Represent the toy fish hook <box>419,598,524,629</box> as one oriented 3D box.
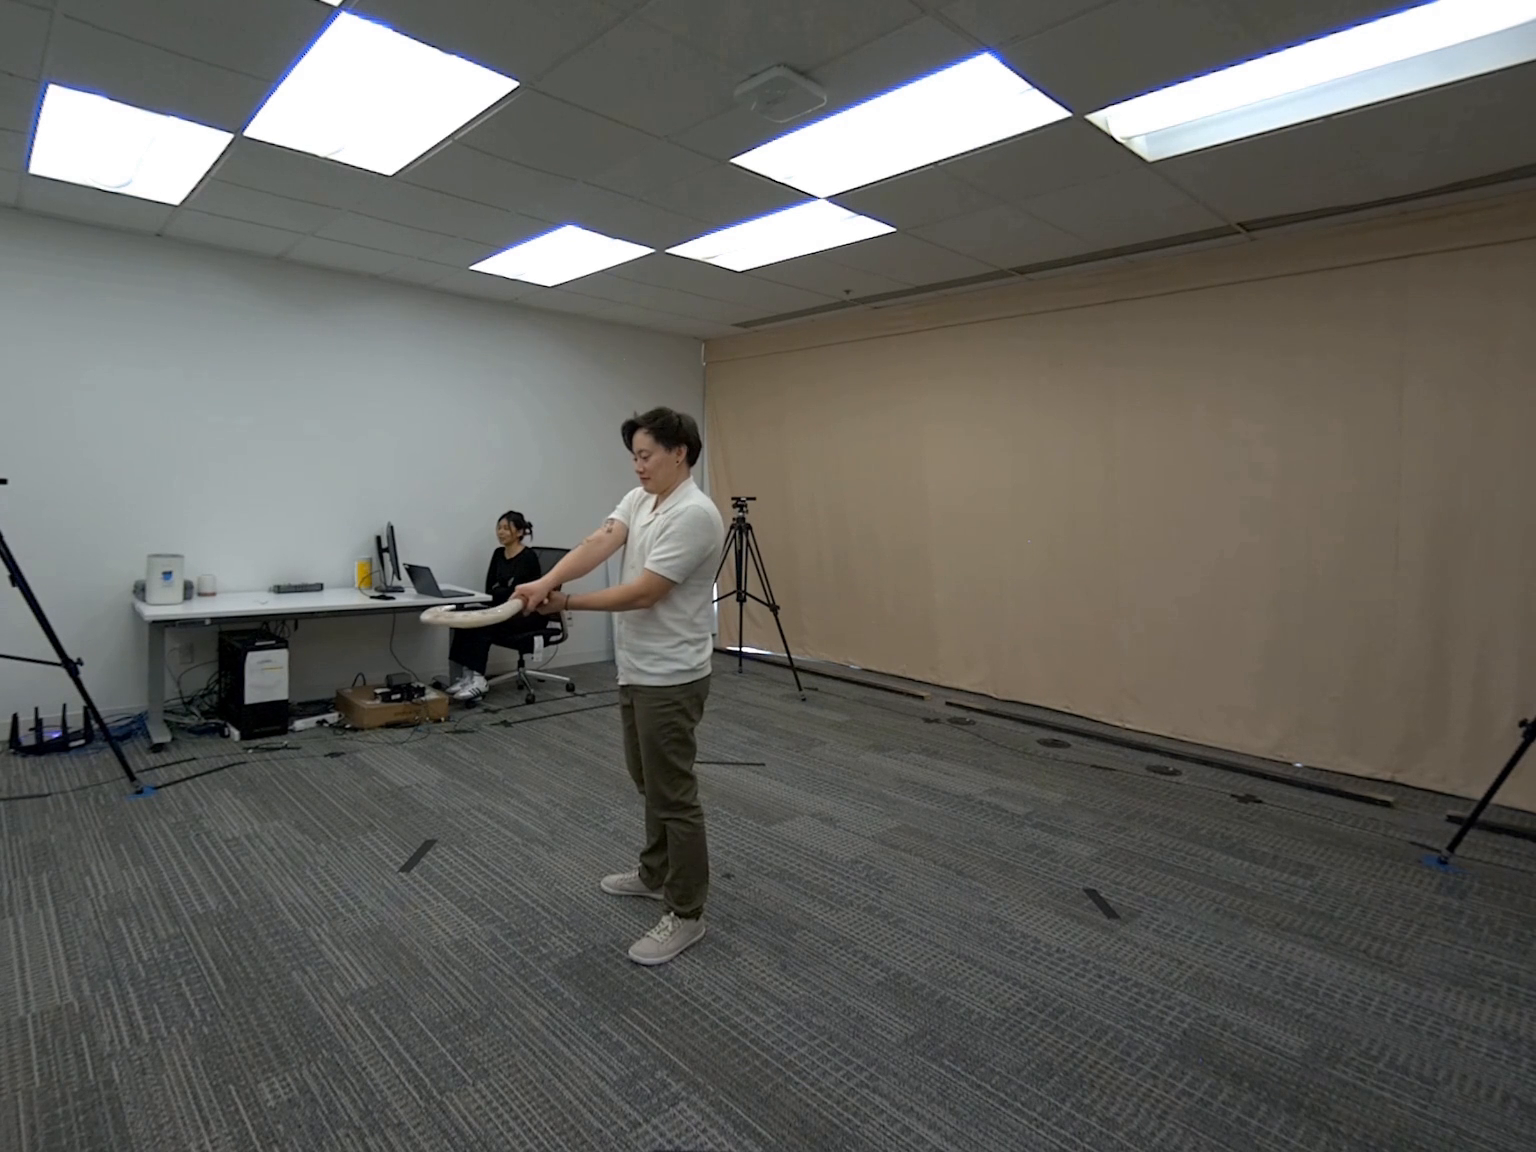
[{"bbox_3d":[-0.774,0.083,2.351,0.227,0.048,0.504,9,8,9],"label":"toy fish hook"}]
